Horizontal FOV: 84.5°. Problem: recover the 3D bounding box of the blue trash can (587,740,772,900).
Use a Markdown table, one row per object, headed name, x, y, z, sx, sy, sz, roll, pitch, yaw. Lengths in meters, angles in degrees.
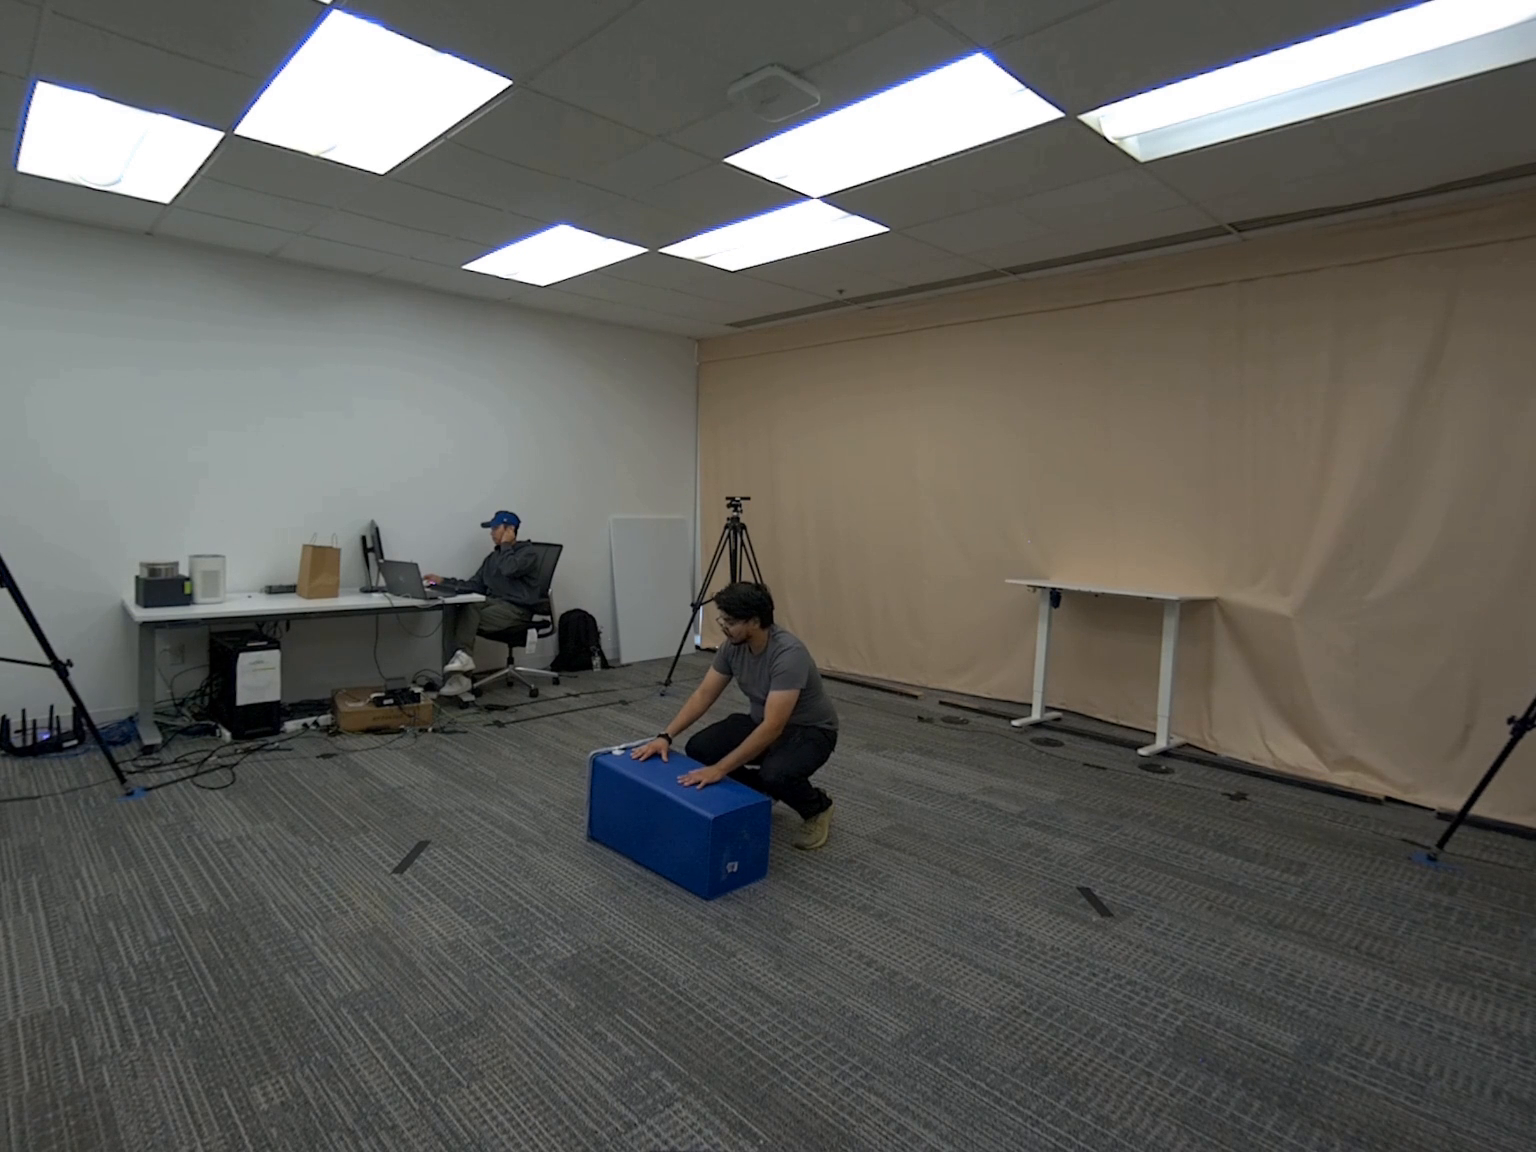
| name | x | y | z | sx | sy | sz | roll | pitch | yaw |
| --- | --- | --- | --- | --- | --- | --- | --- | --- | --- |
| blue trash can | -0.358 | 0.914 | 3.235 | 0.365 | 0.377 | 0.732 | -2 | 7 | -43 |
